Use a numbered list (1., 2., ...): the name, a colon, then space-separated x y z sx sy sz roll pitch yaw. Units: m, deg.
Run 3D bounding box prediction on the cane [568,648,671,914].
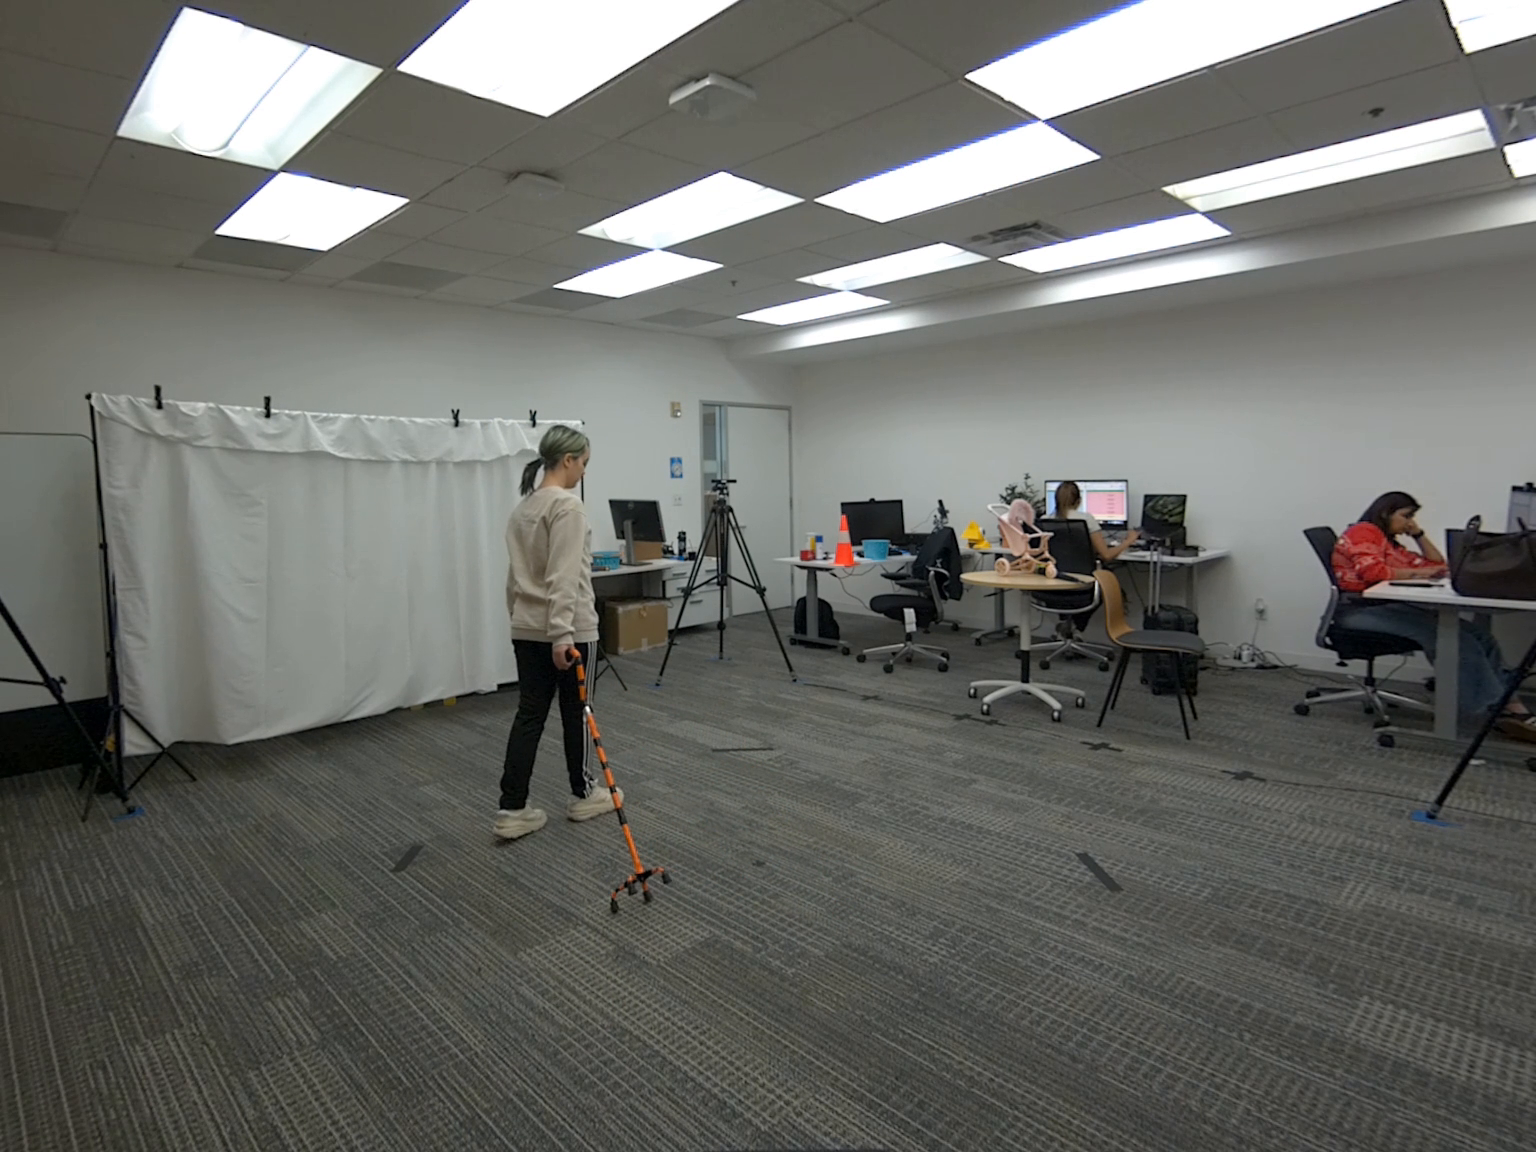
1. cane: -0.573 0.658 2.961 0.148 0.936 0.205 -4 -34 -35
